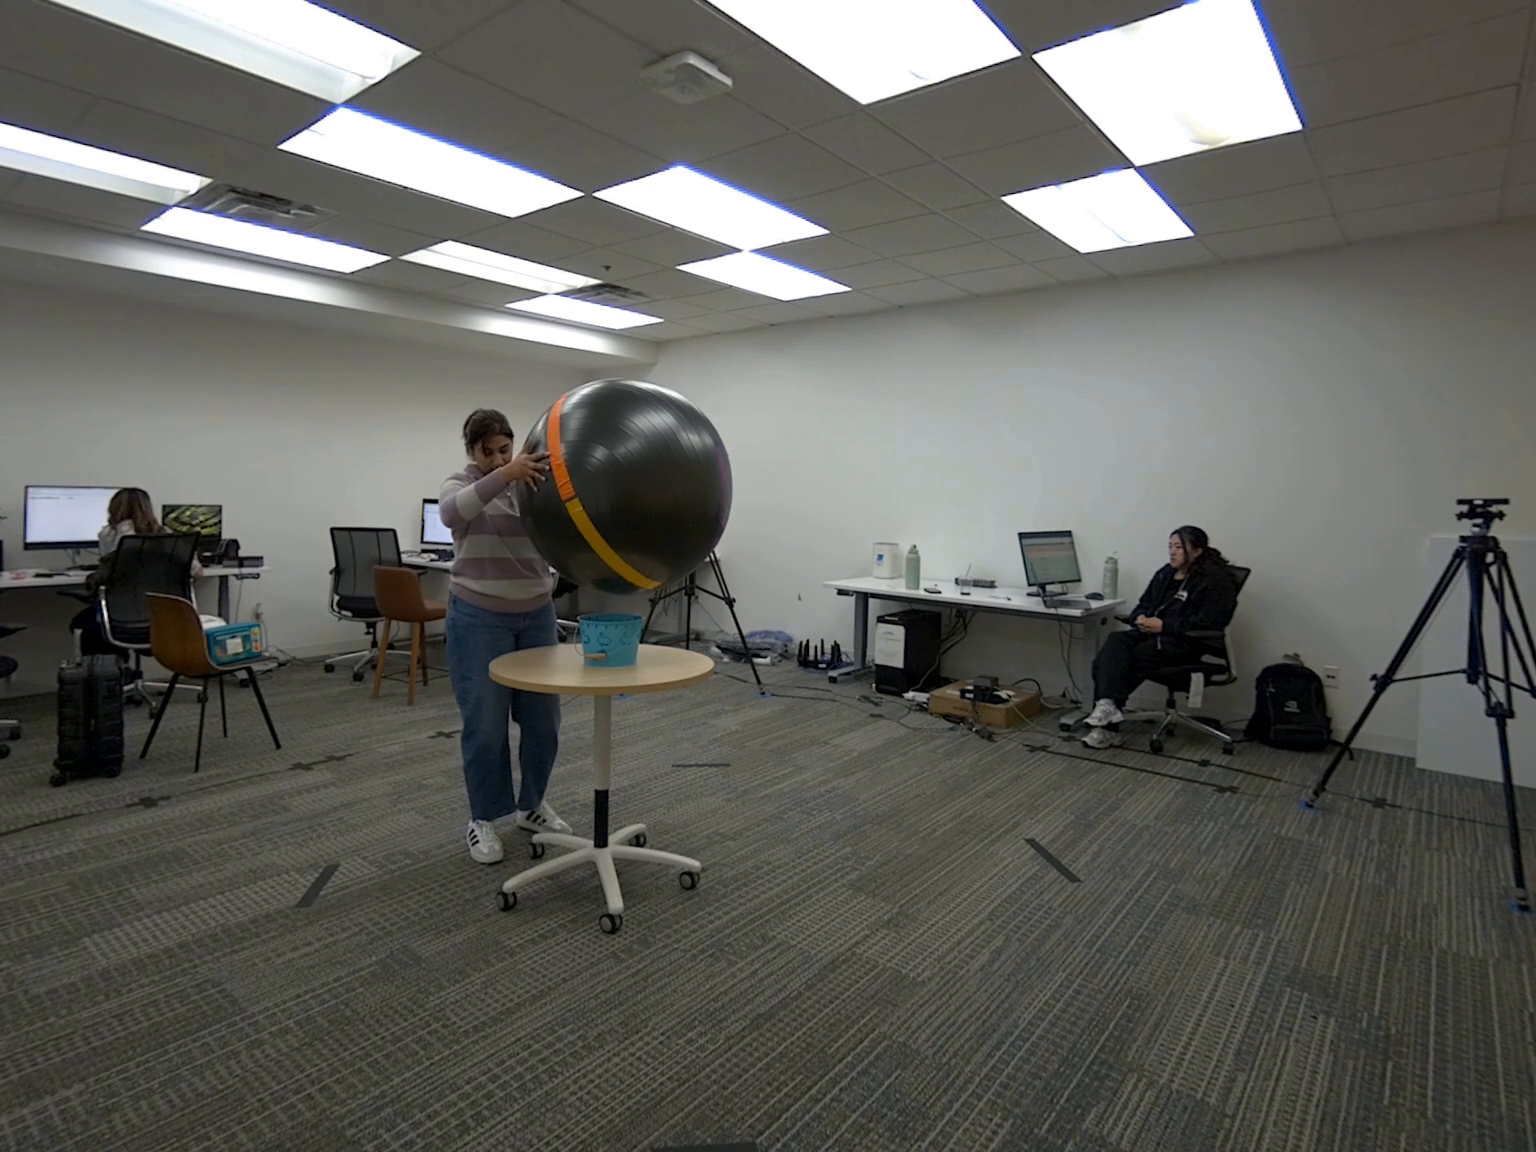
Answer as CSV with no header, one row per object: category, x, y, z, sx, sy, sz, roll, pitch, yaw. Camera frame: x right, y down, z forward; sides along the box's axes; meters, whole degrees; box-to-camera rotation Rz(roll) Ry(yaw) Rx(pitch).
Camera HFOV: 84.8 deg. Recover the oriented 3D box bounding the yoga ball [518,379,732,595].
yoga ball,-0.507,-0.307,2.995,0.757,0.755,0.762,1,4,-2
